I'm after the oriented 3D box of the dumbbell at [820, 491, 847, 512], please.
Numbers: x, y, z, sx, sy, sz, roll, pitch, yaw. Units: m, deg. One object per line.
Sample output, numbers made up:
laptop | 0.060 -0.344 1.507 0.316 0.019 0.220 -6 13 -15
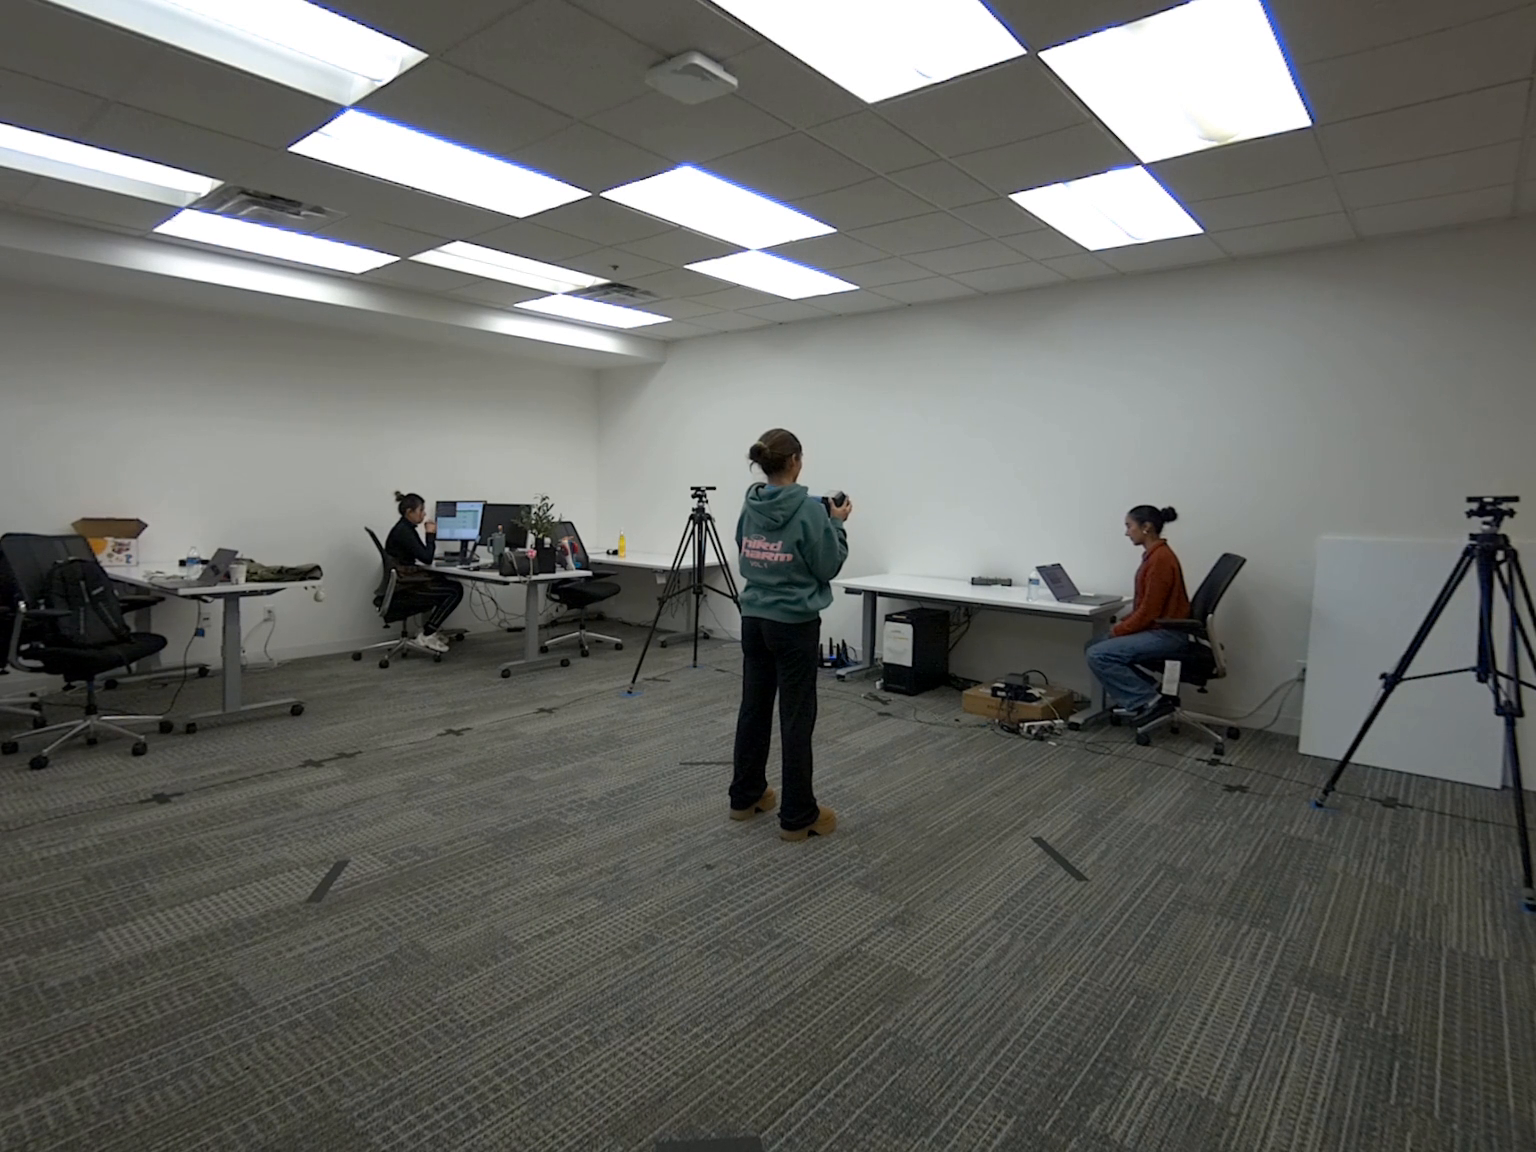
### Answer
dumbbell | 0.188 -0.311 3.654 0.304 0.106 0.122 10 35 39
